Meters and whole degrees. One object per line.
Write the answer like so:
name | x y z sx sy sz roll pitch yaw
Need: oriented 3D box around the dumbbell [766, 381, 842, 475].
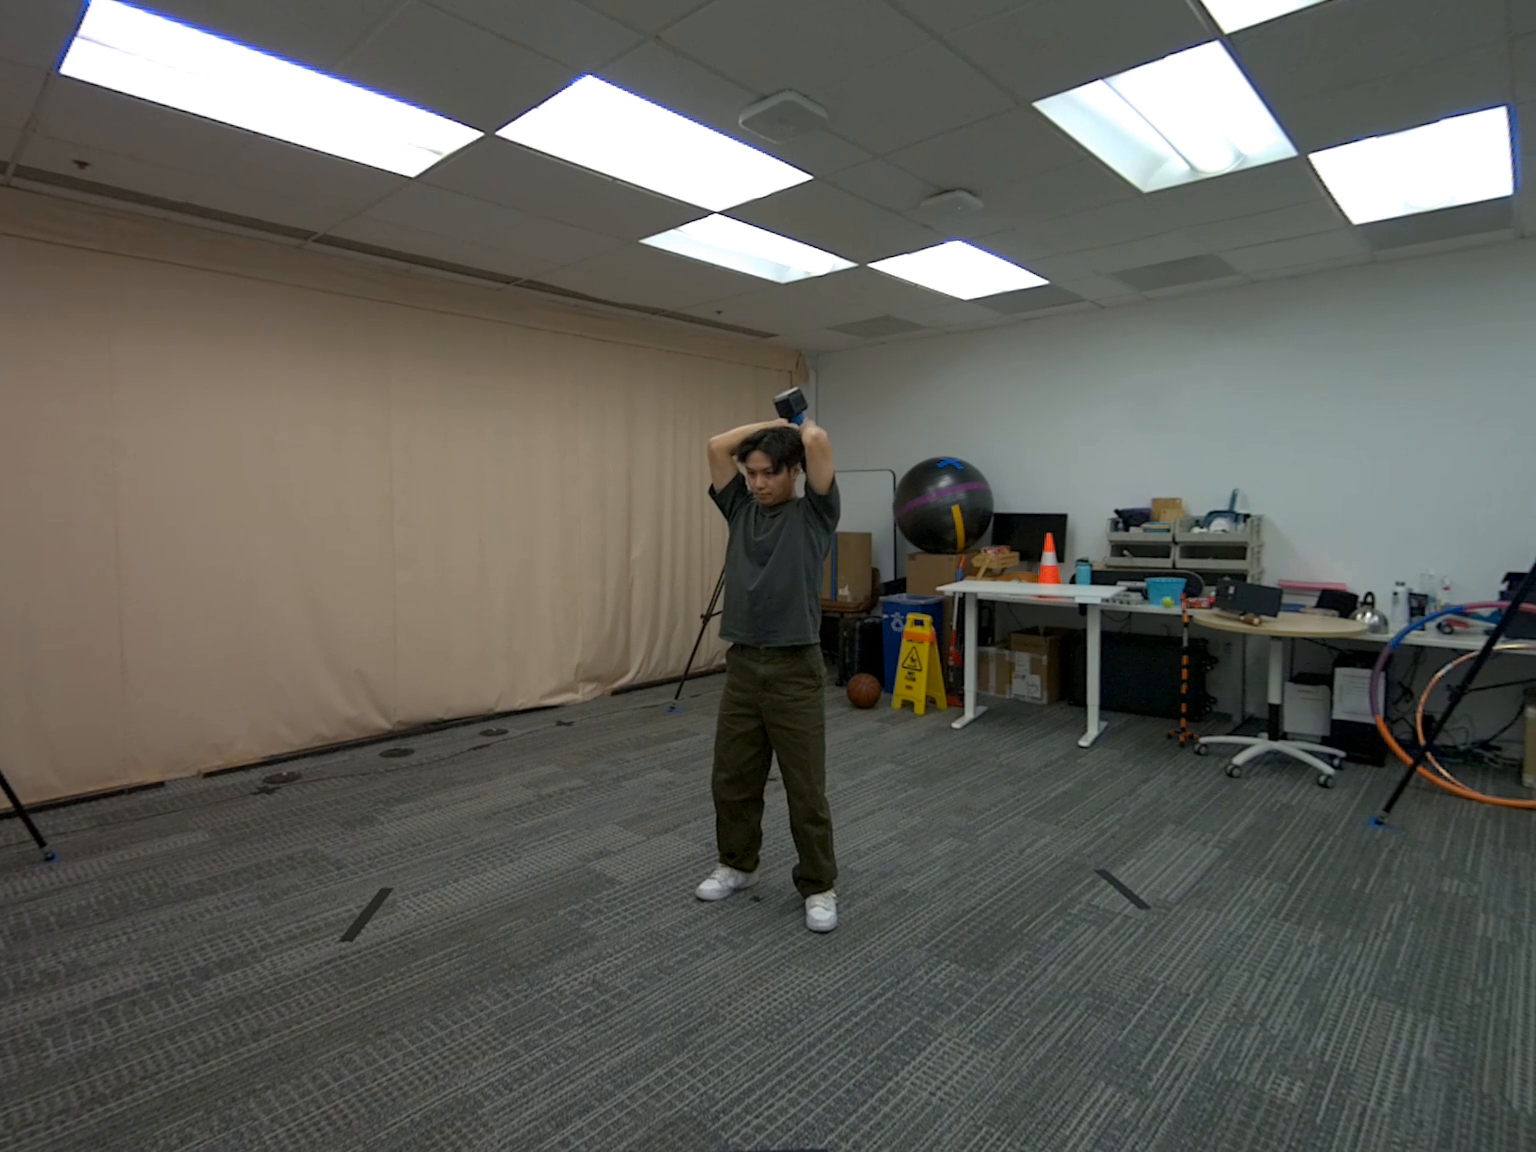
dumbbell | 0.126 -0.521 2.993 0.121 0.289 0.112 -31 16 -22
